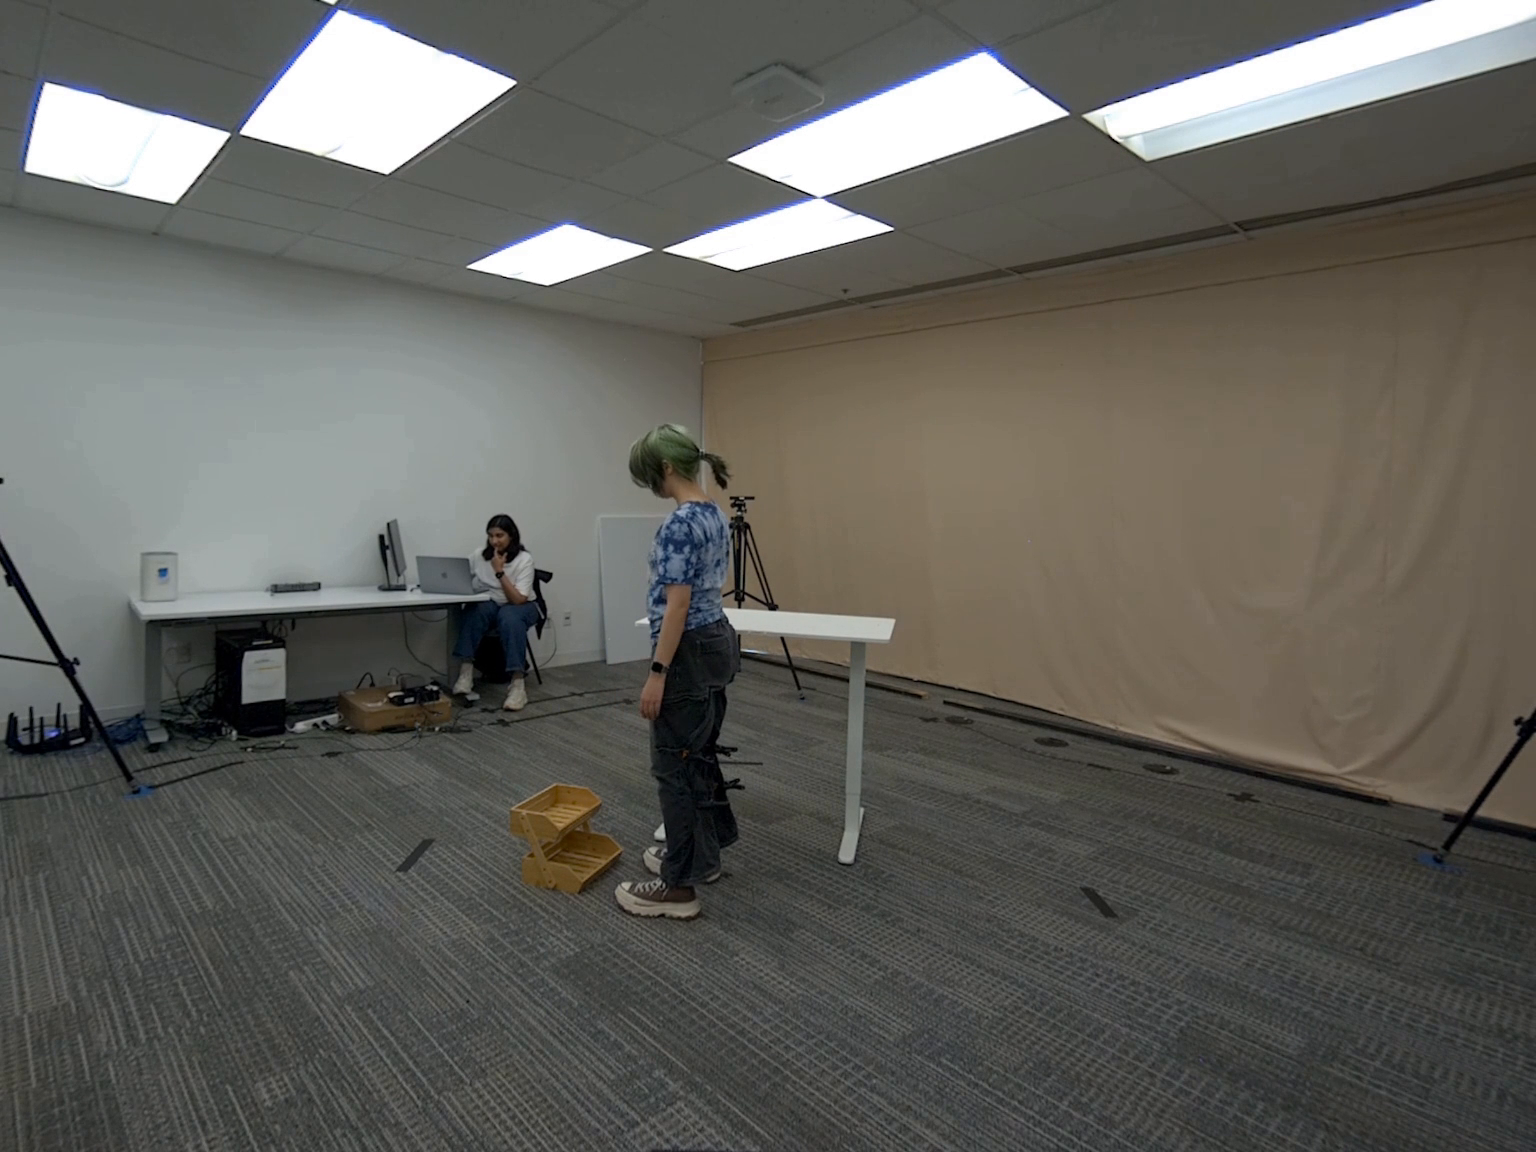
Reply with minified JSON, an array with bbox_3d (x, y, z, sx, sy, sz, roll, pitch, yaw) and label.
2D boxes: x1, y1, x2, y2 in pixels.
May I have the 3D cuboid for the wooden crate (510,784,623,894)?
[{"bbox_3d":[-0.737,0.958,3.106,0.307,0.272,0.320,3,5,20],"label":"wooden crate"}]
